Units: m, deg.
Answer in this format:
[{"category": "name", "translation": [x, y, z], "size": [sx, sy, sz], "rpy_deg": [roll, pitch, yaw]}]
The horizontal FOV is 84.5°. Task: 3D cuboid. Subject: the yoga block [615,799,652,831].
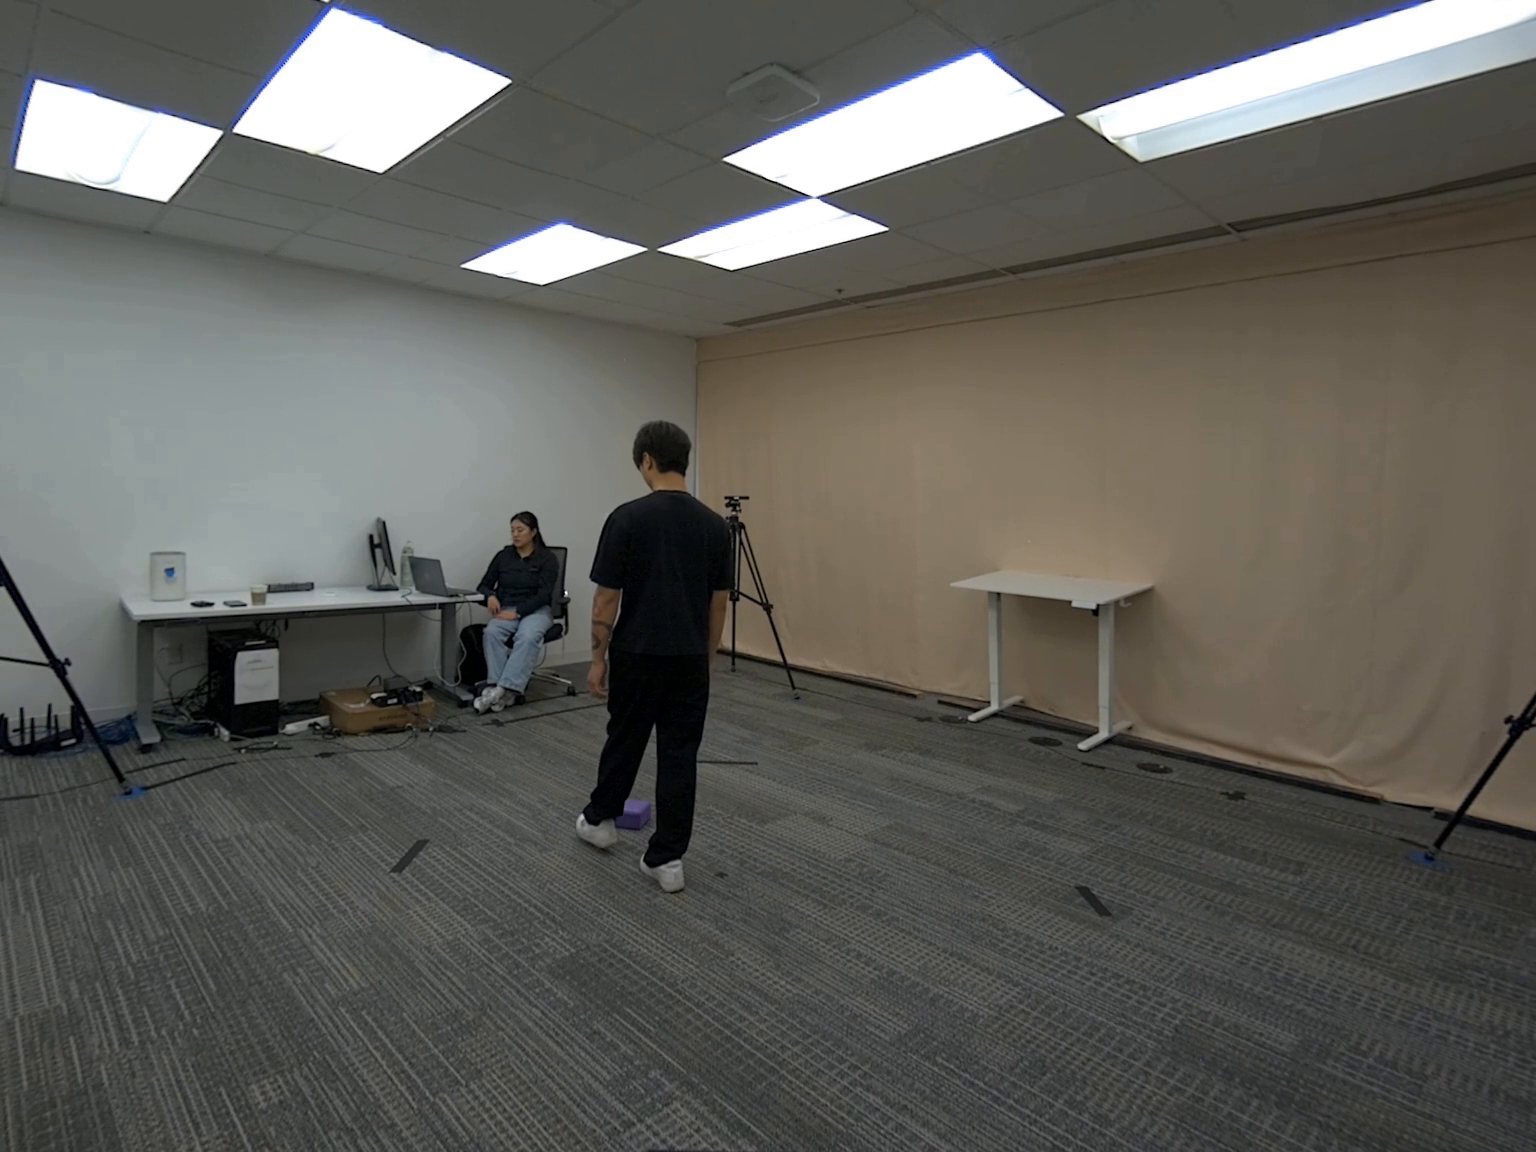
[{"category": "yoga block", "translation": [-0.636, 1.010, 3.592], "size": [0.232, 0.076, 0.148], "rpy_deg": [3, 5, 14]}]
